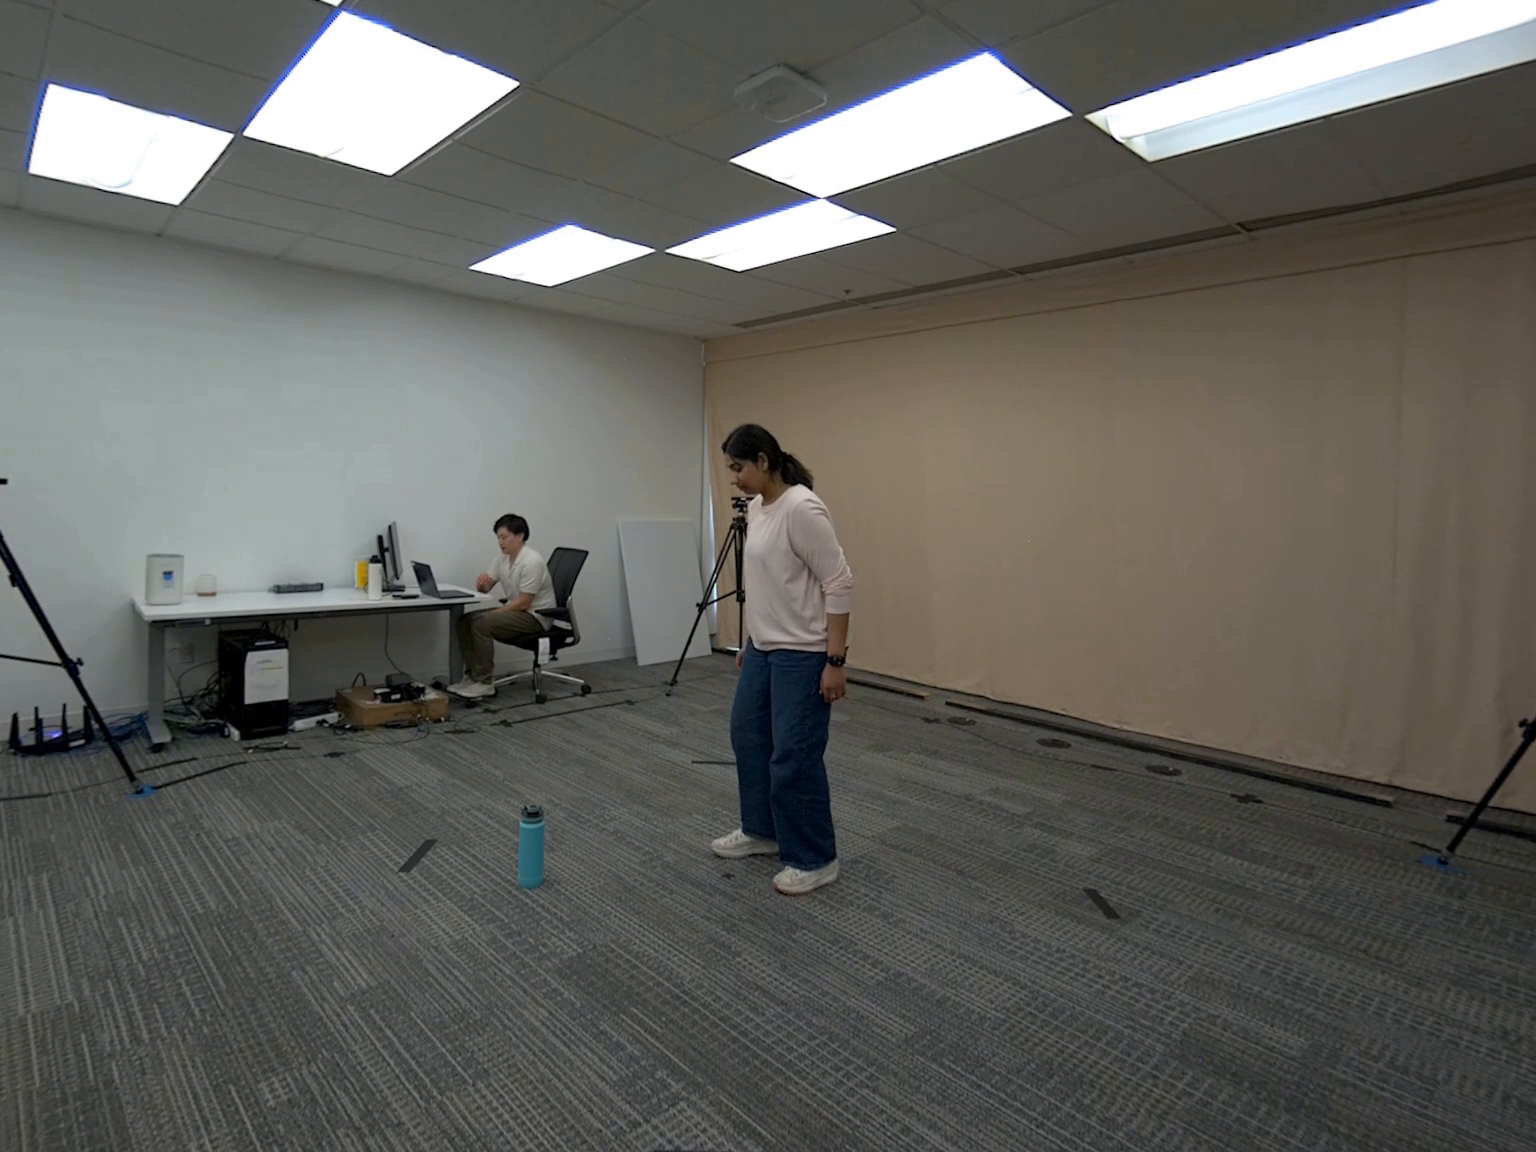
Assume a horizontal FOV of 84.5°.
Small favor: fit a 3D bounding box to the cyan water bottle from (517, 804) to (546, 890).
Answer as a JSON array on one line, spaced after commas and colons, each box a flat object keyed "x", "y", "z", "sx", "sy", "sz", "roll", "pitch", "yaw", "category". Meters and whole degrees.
[{"x": -0.856, "y": 0.960, "z": 3.007, "sx": 0.092, "sy": 0.283, "sz": 0.092, "roll": 1, "pitch": 2, "yaw": -1, "category": "cyan water bottle"}]
